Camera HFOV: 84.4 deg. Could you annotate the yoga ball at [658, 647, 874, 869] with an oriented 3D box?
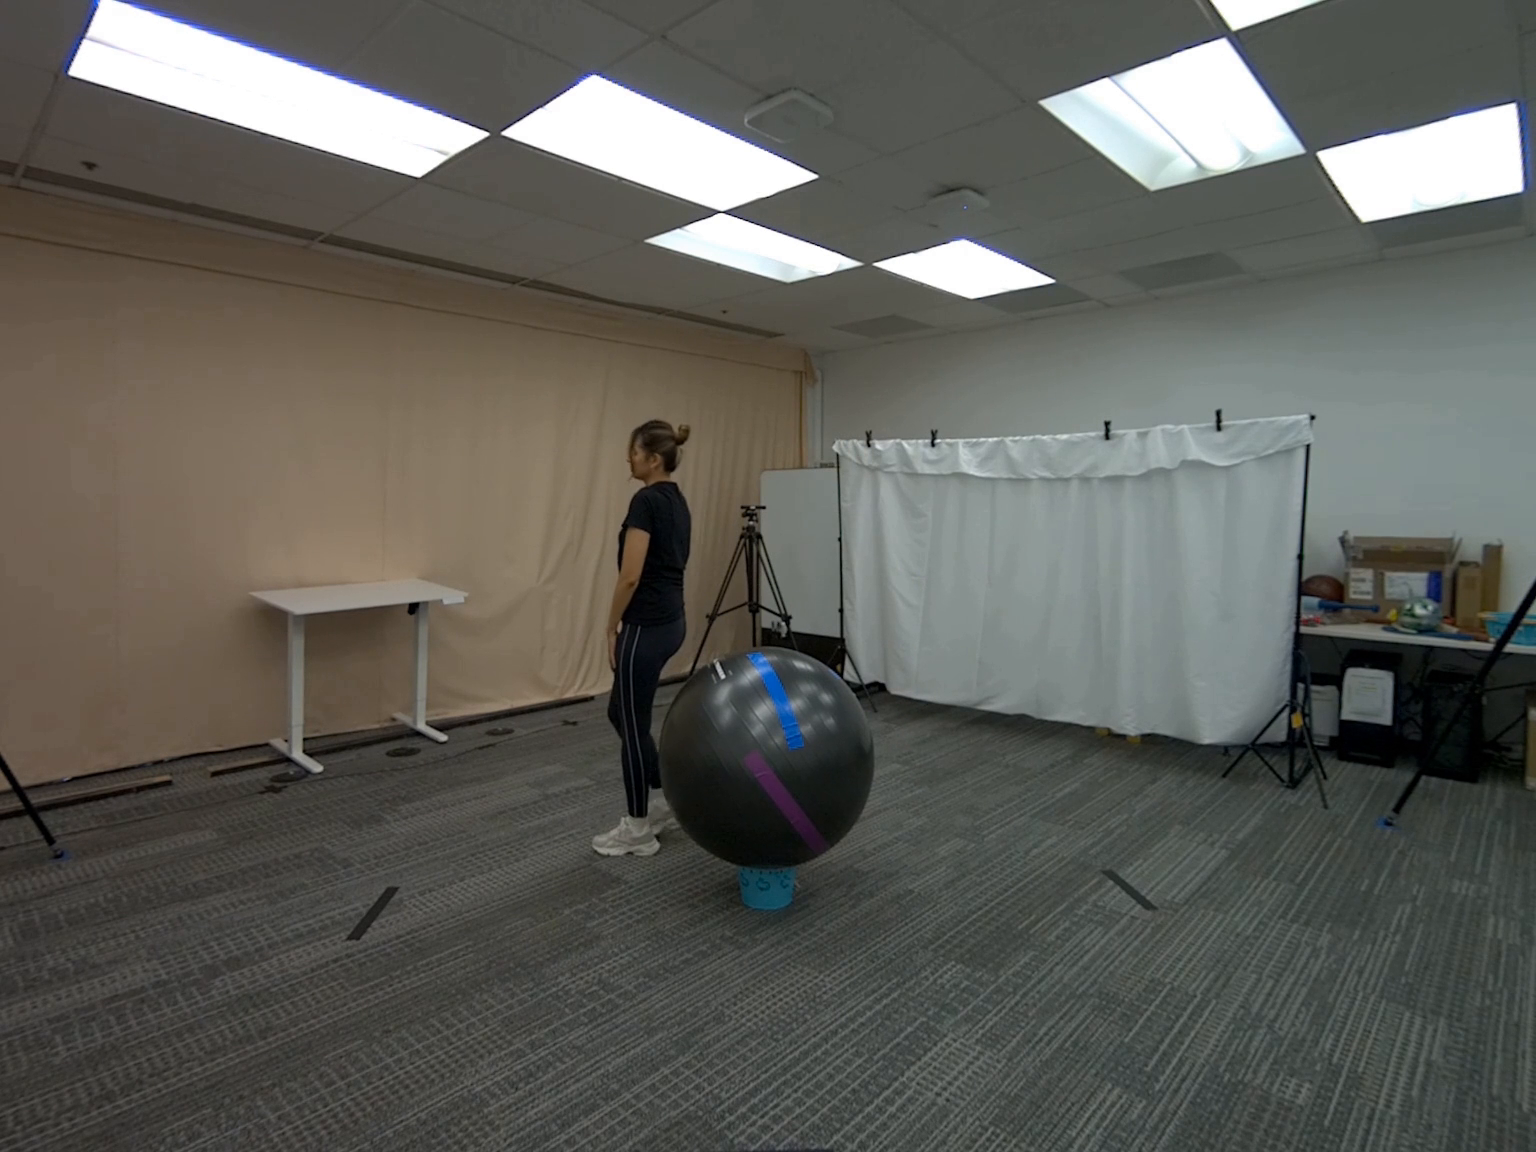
[{"bbox_3d":[-0.003,0.632,2.966,0.757,0.756,0.760,0,4,-2],"label":"yoga ball"}]
